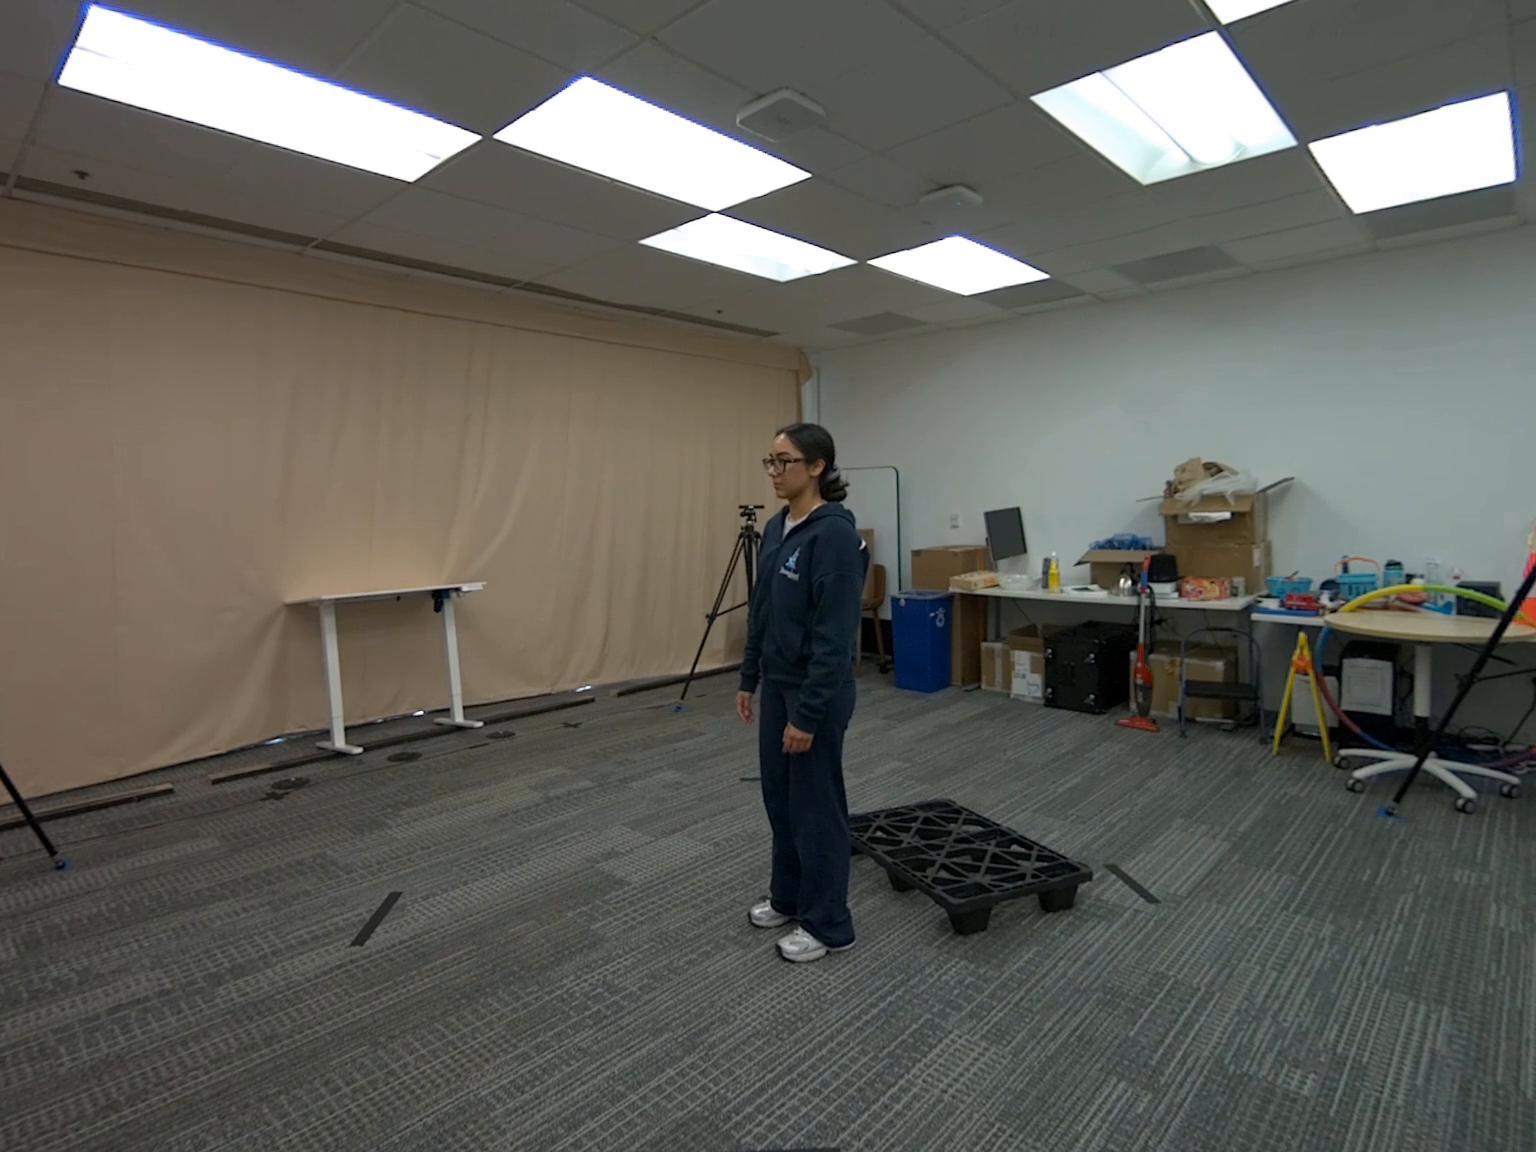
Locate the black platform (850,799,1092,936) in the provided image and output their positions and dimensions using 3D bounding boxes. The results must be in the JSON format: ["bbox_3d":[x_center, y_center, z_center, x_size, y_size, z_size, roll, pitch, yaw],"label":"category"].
[{"bbox_3d":[0.672,1.053,3.108,0.591,0.143,0.826,-3,5,-25],"label":"black platform"}]
